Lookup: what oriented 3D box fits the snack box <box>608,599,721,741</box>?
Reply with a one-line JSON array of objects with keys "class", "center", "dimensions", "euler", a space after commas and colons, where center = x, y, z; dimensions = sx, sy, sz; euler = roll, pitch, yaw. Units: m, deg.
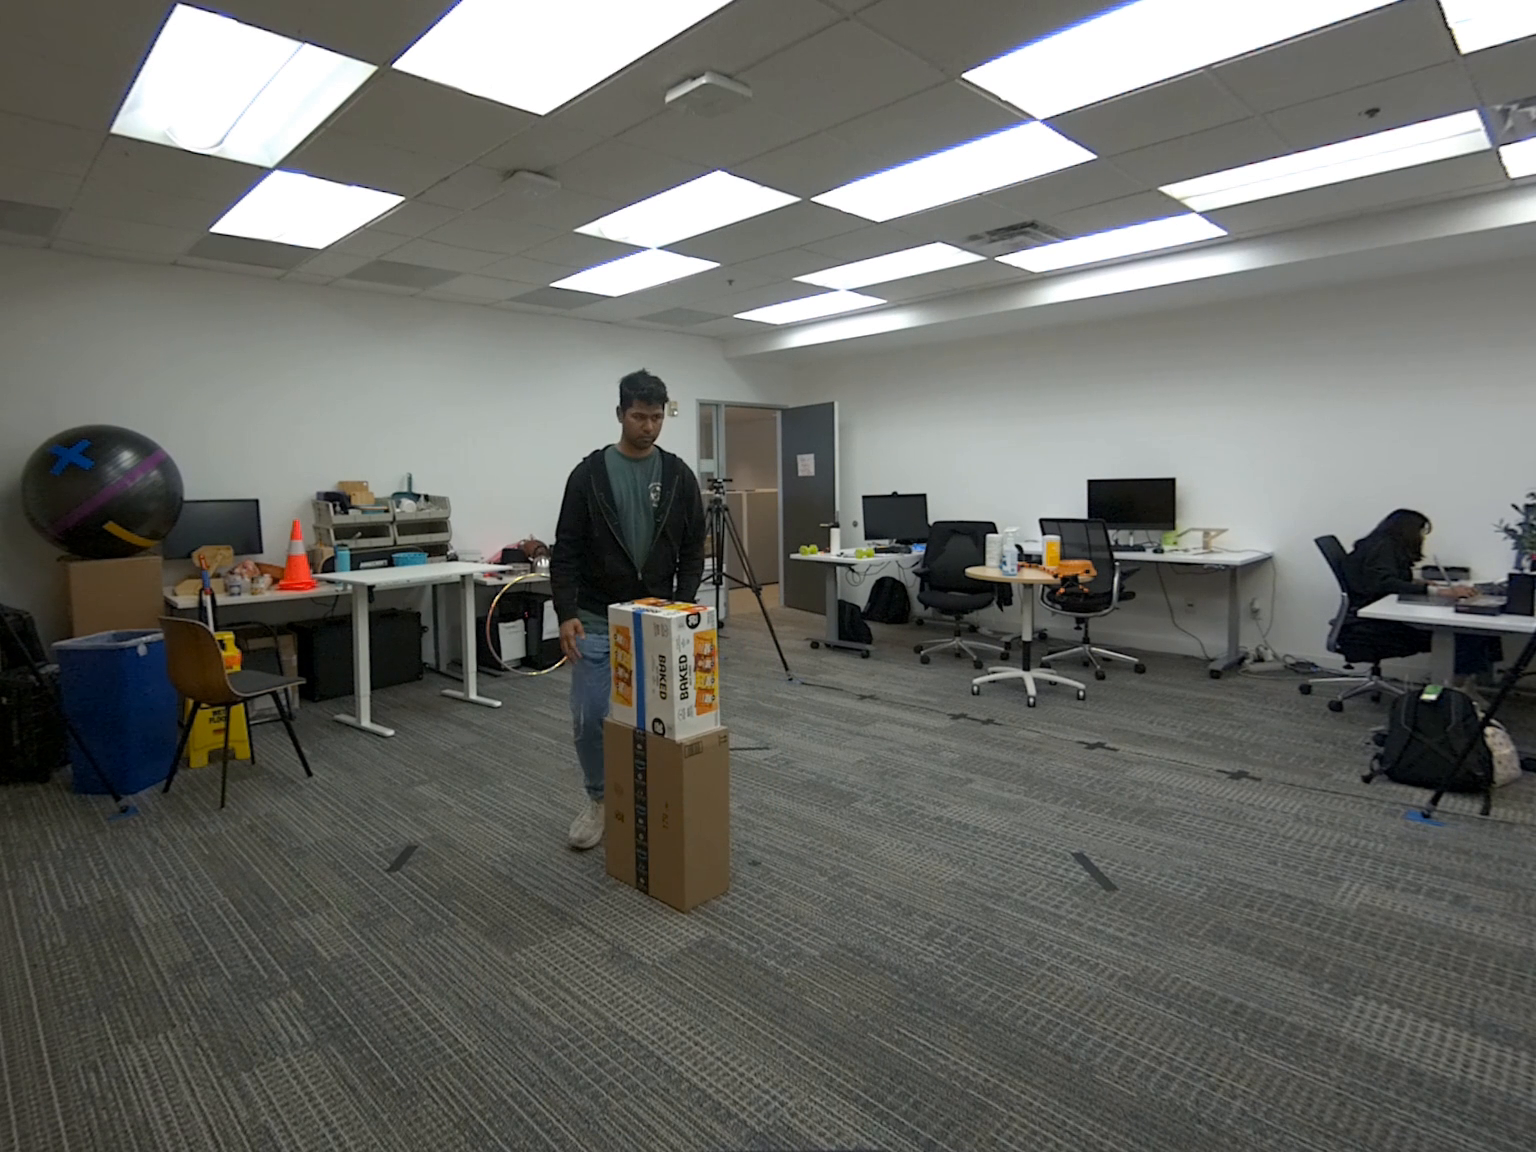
[{"class": "snack box", "center": [-0.355, 0.305, 2.910], "dimensions": [0.200, 0.403, 0.351], "euler": [-7, 8, -44]}]
